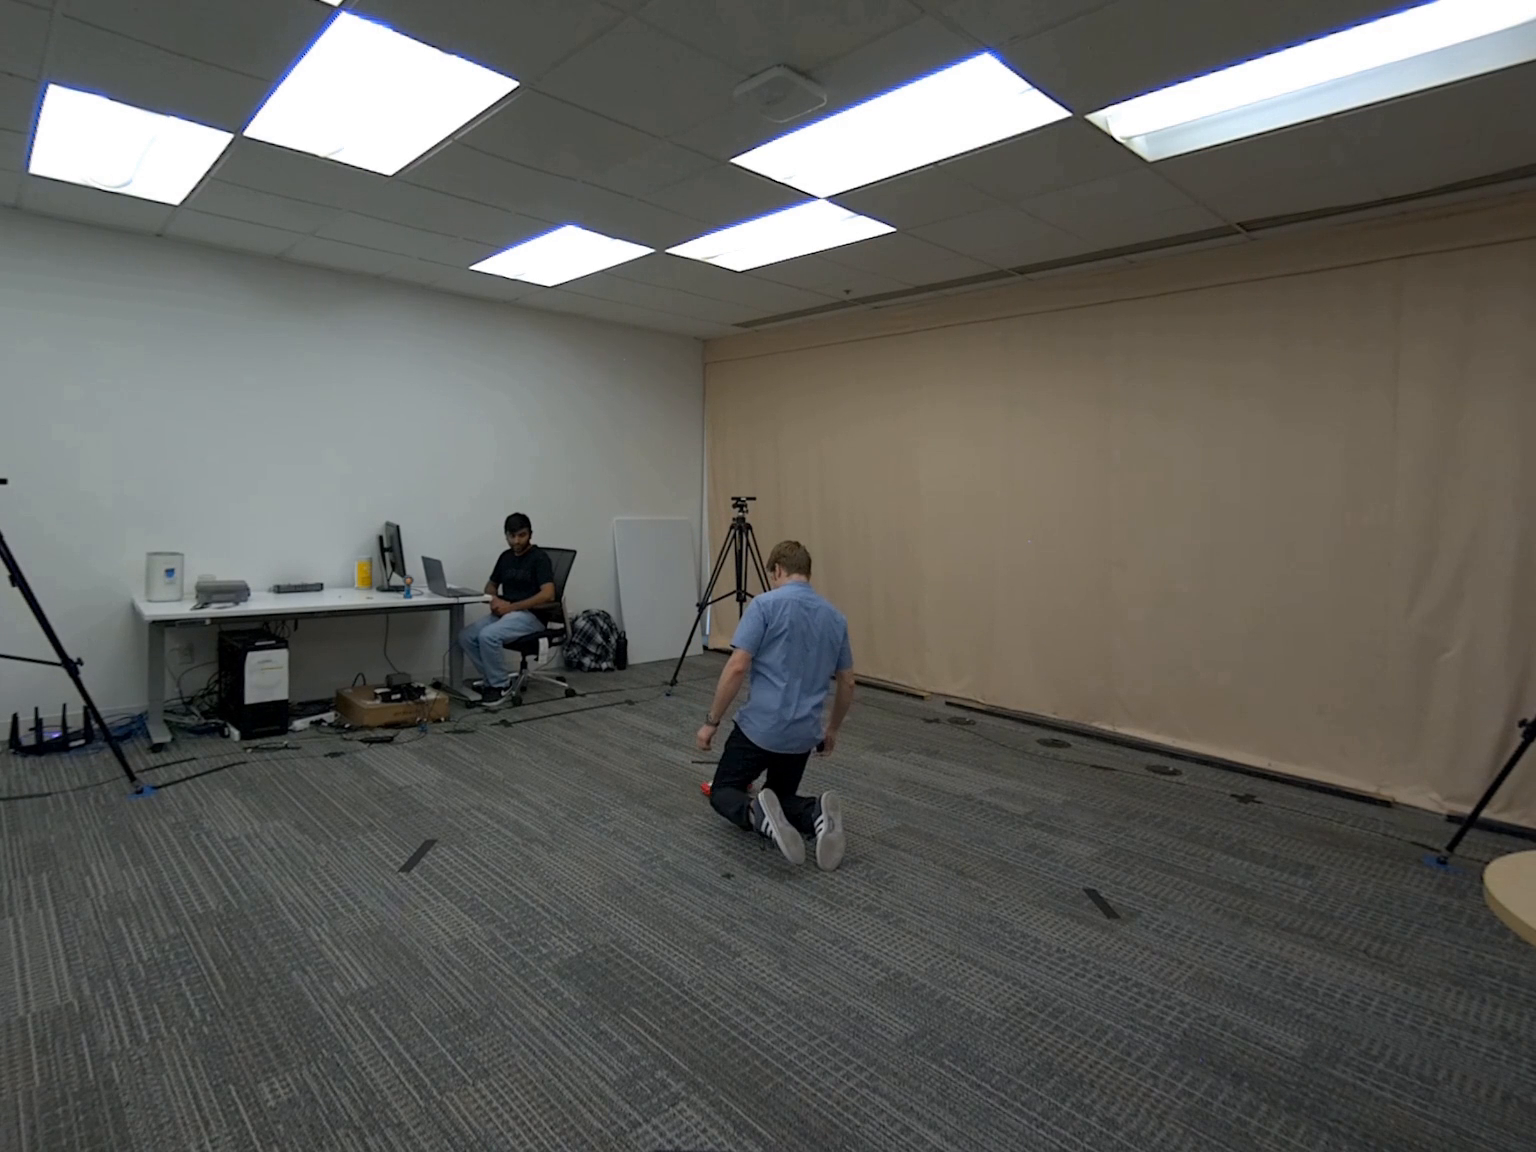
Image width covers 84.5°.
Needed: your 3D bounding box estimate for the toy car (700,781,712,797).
[{"bbox_3d":[-0.195,1.001,3.986,0.251,0.083,0.133,-11,8,-23],"label":"toy car"}]
